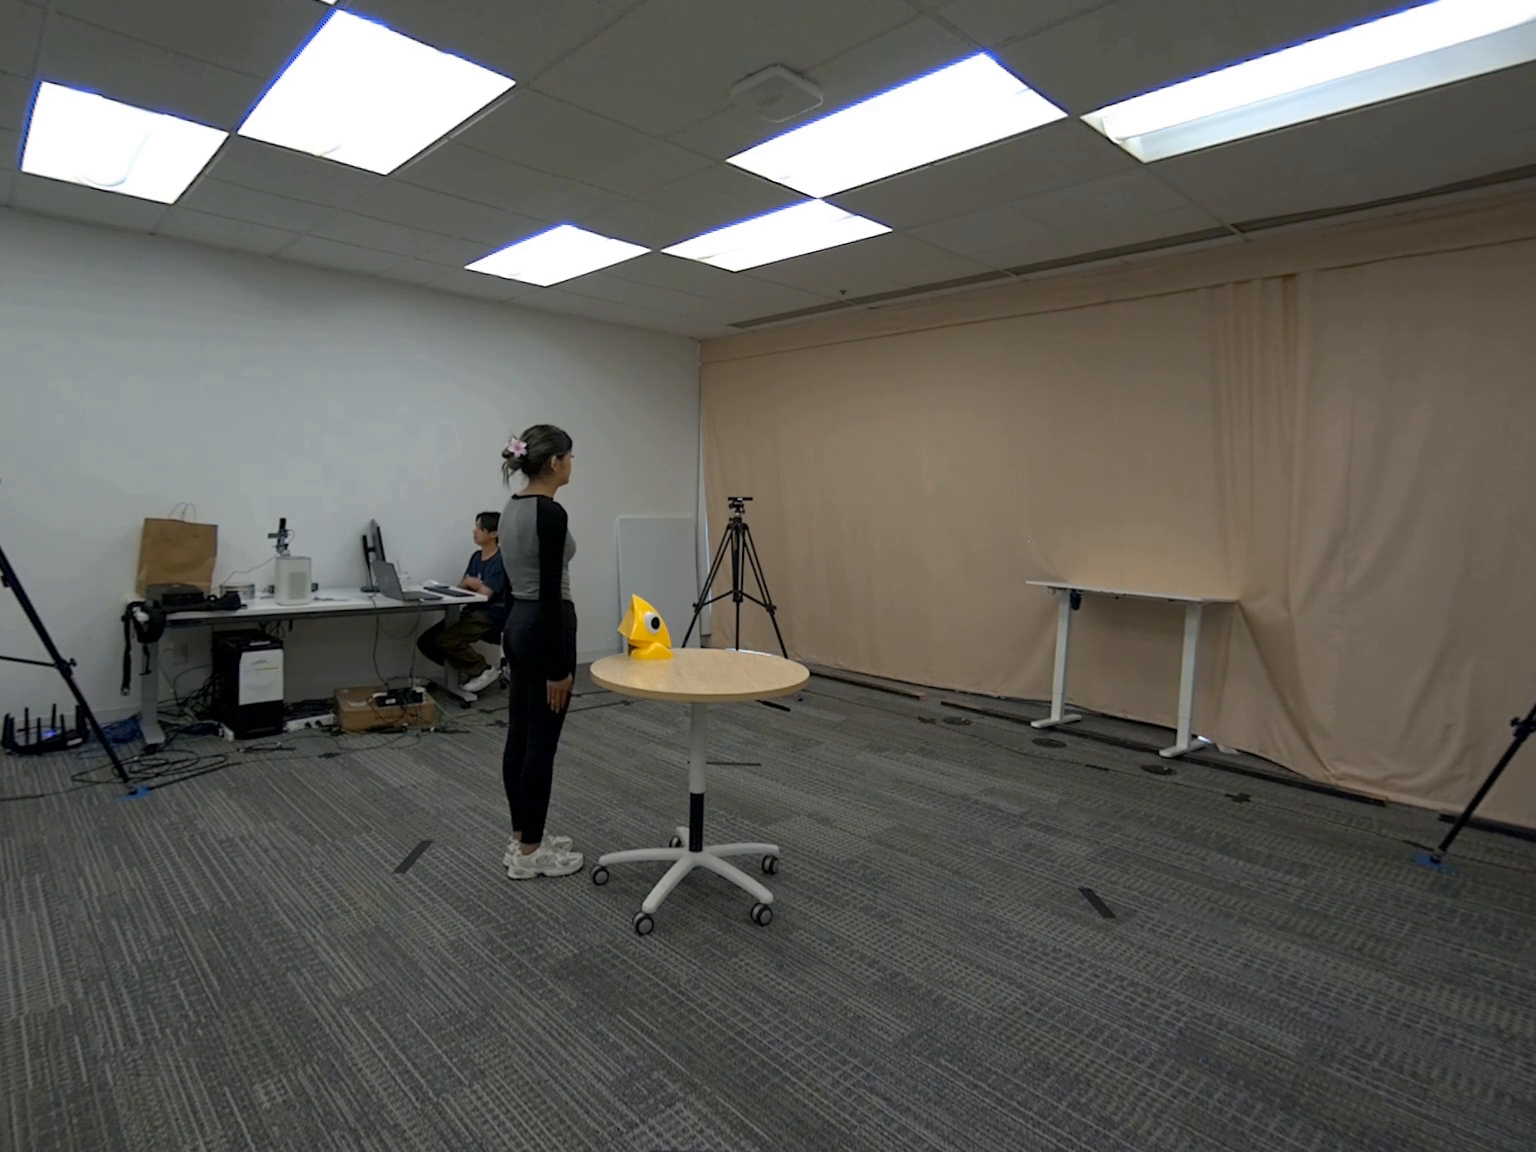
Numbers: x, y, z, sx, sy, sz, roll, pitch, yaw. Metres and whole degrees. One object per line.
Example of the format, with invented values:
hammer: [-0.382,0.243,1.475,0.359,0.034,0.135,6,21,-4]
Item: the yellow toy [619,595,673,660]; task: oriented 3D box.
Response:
yellow toy: [-0.463,0.182,3.167,0.190,0.230,0.209,1,5,-23]
